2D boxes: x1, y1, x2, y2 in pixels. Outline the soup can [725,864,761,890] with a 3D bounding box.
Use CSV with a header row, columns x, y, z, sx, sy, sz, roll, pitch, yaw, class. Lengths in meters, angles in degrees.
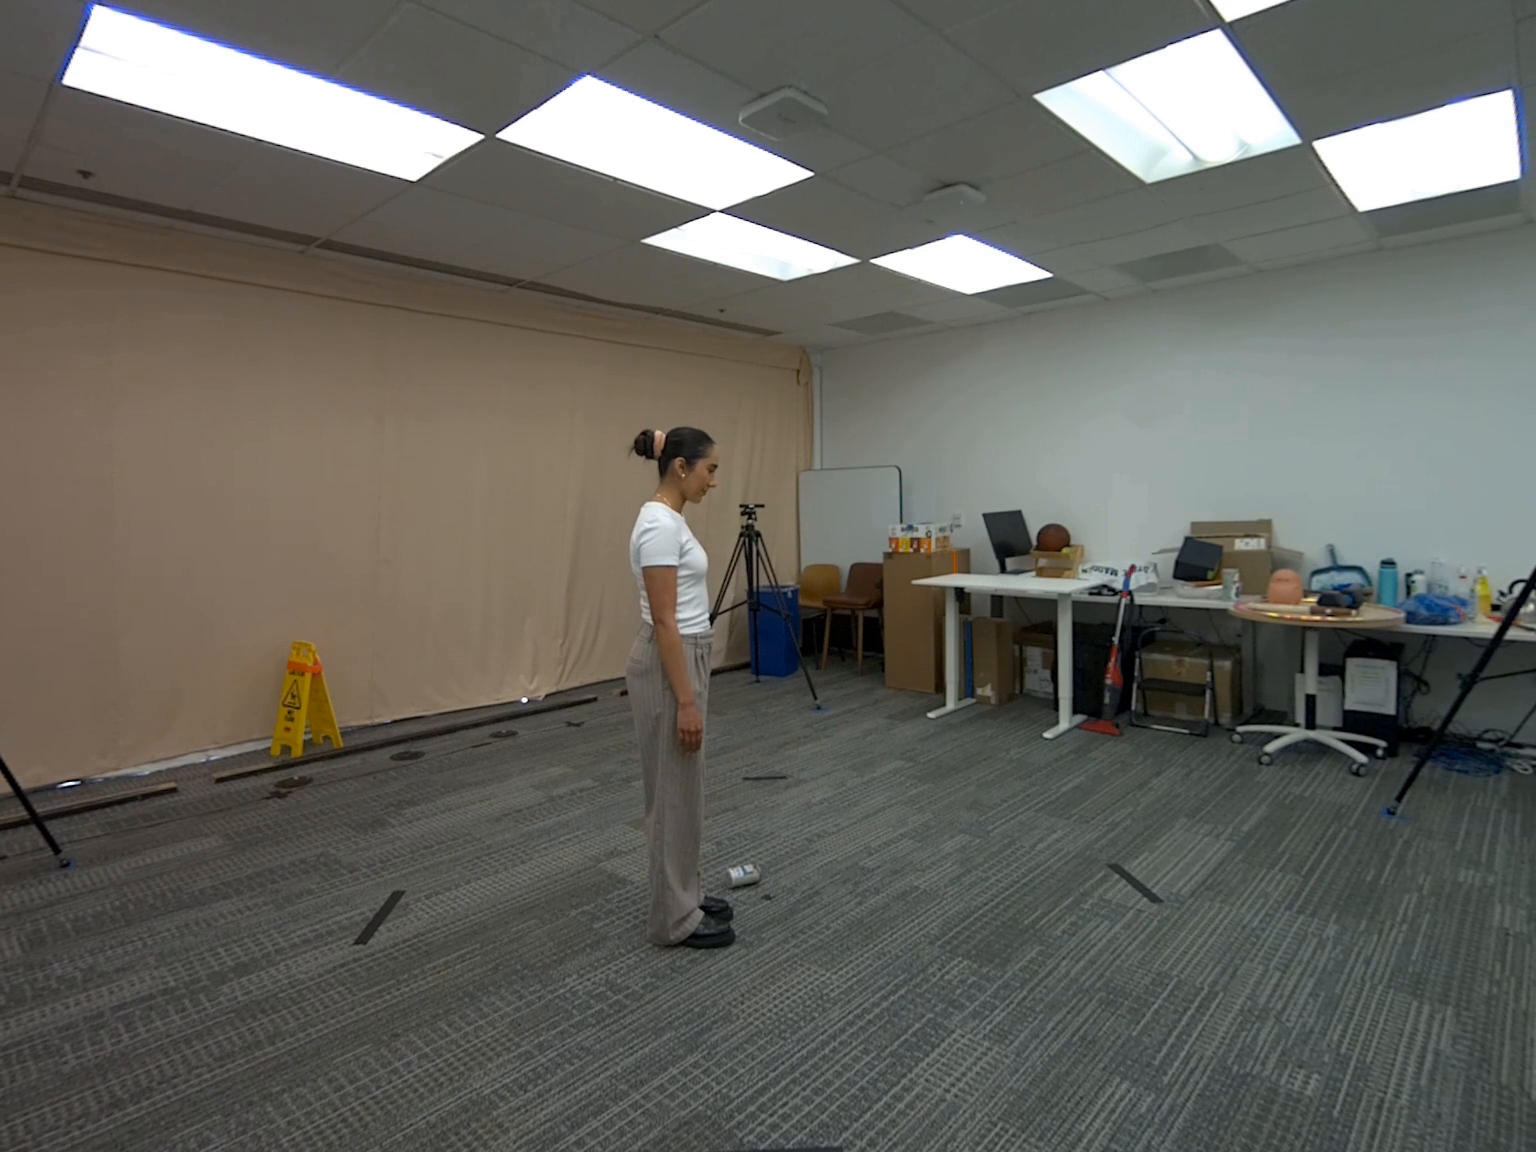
x,y,z,sx,sy,sz,roll,pitch,yaw,class
-0.091,1.091,3.081,0.119,0.067,0.069,1,3,-21,soup can
